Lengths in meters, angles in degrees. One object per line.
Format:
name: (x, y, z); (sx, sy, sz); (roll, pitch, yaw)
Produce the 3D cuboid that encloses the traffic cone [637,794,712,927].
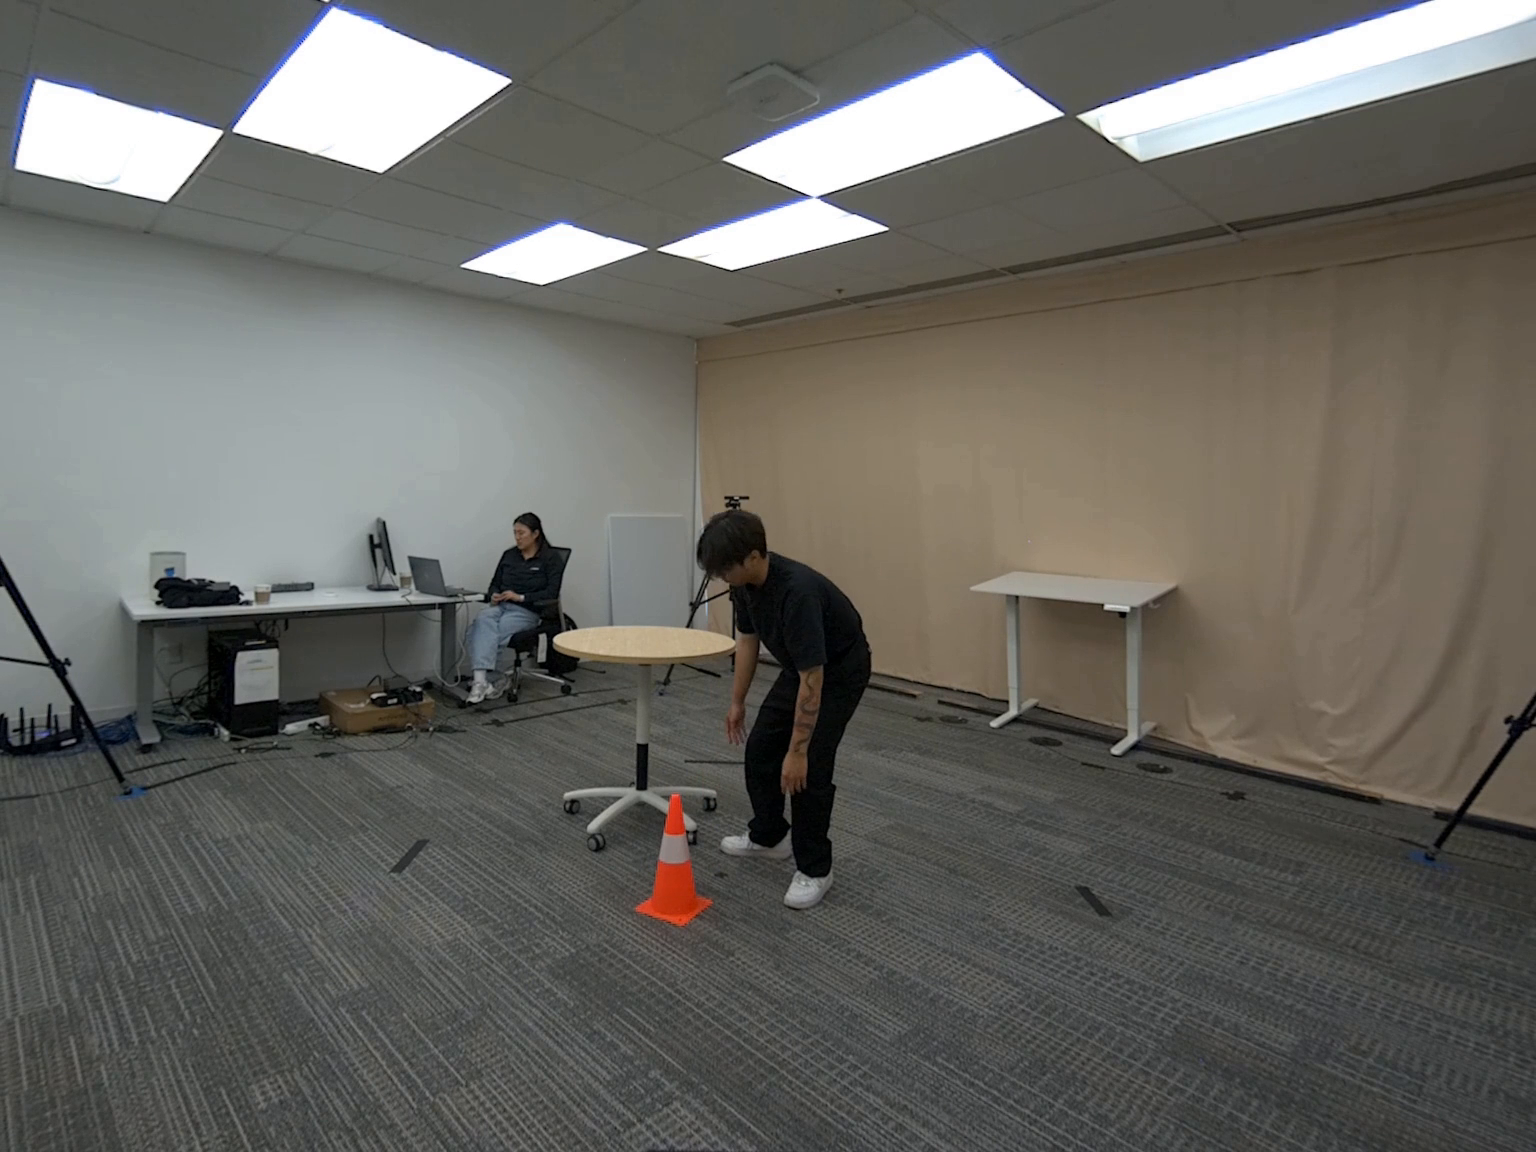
traffic cone: (-0.316, 0.939, 2.854); (0.207, 0.383, 0.201); (4, 4, 24)
